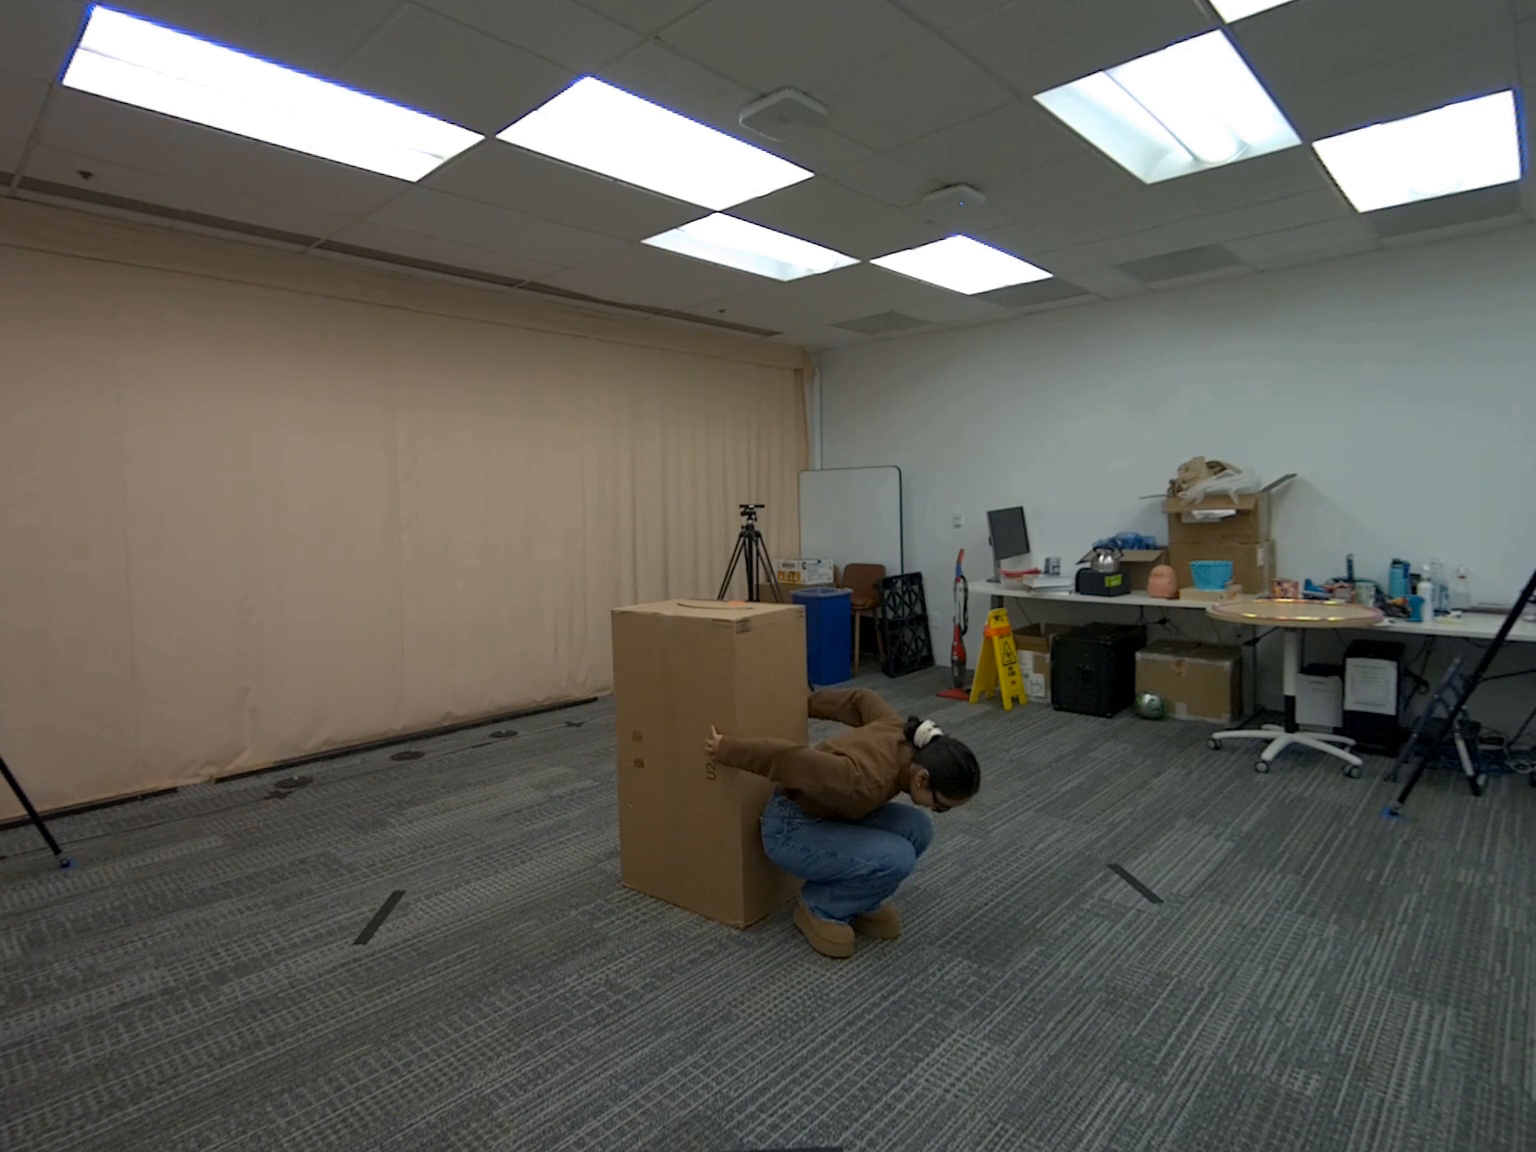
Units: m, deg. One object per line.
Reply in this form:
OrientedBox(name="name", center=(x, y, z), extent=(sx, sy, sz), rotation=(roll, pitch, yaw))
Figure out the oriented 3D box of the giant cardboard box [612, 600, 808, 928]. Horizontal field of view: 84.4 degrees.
OrientedBox(name="giant cardboard box", center=(-0.202, 0.628, 3.075), extent=(0.602, 1.025, 0.434), rotation=(1, 4, 37))
